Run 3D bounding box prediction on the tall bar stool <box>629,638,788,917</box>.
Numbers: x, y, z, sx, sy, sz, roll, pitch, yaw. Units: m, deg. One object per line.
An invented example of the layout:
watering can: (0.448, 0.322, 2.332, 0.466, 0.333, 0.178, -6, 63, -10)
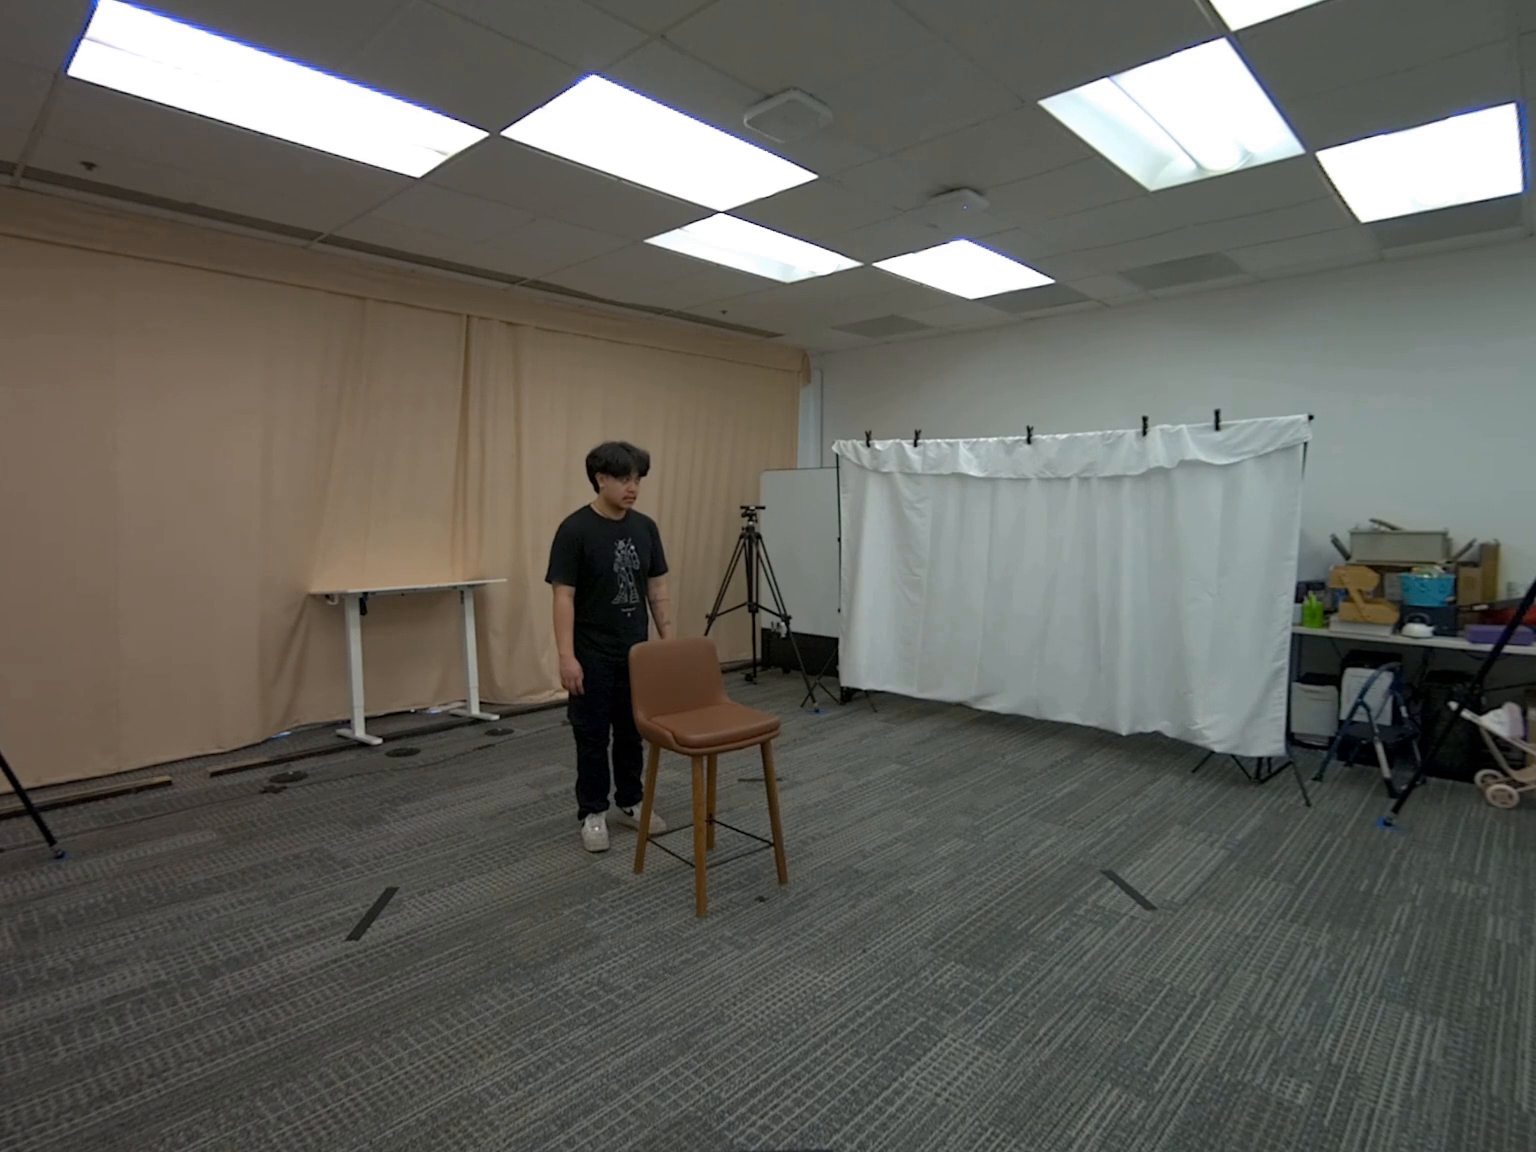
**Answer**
tall bar stool: (-0.231, 0.697, 3.133, 0.443, 0.889, 0.482, -3, 2, -40)
